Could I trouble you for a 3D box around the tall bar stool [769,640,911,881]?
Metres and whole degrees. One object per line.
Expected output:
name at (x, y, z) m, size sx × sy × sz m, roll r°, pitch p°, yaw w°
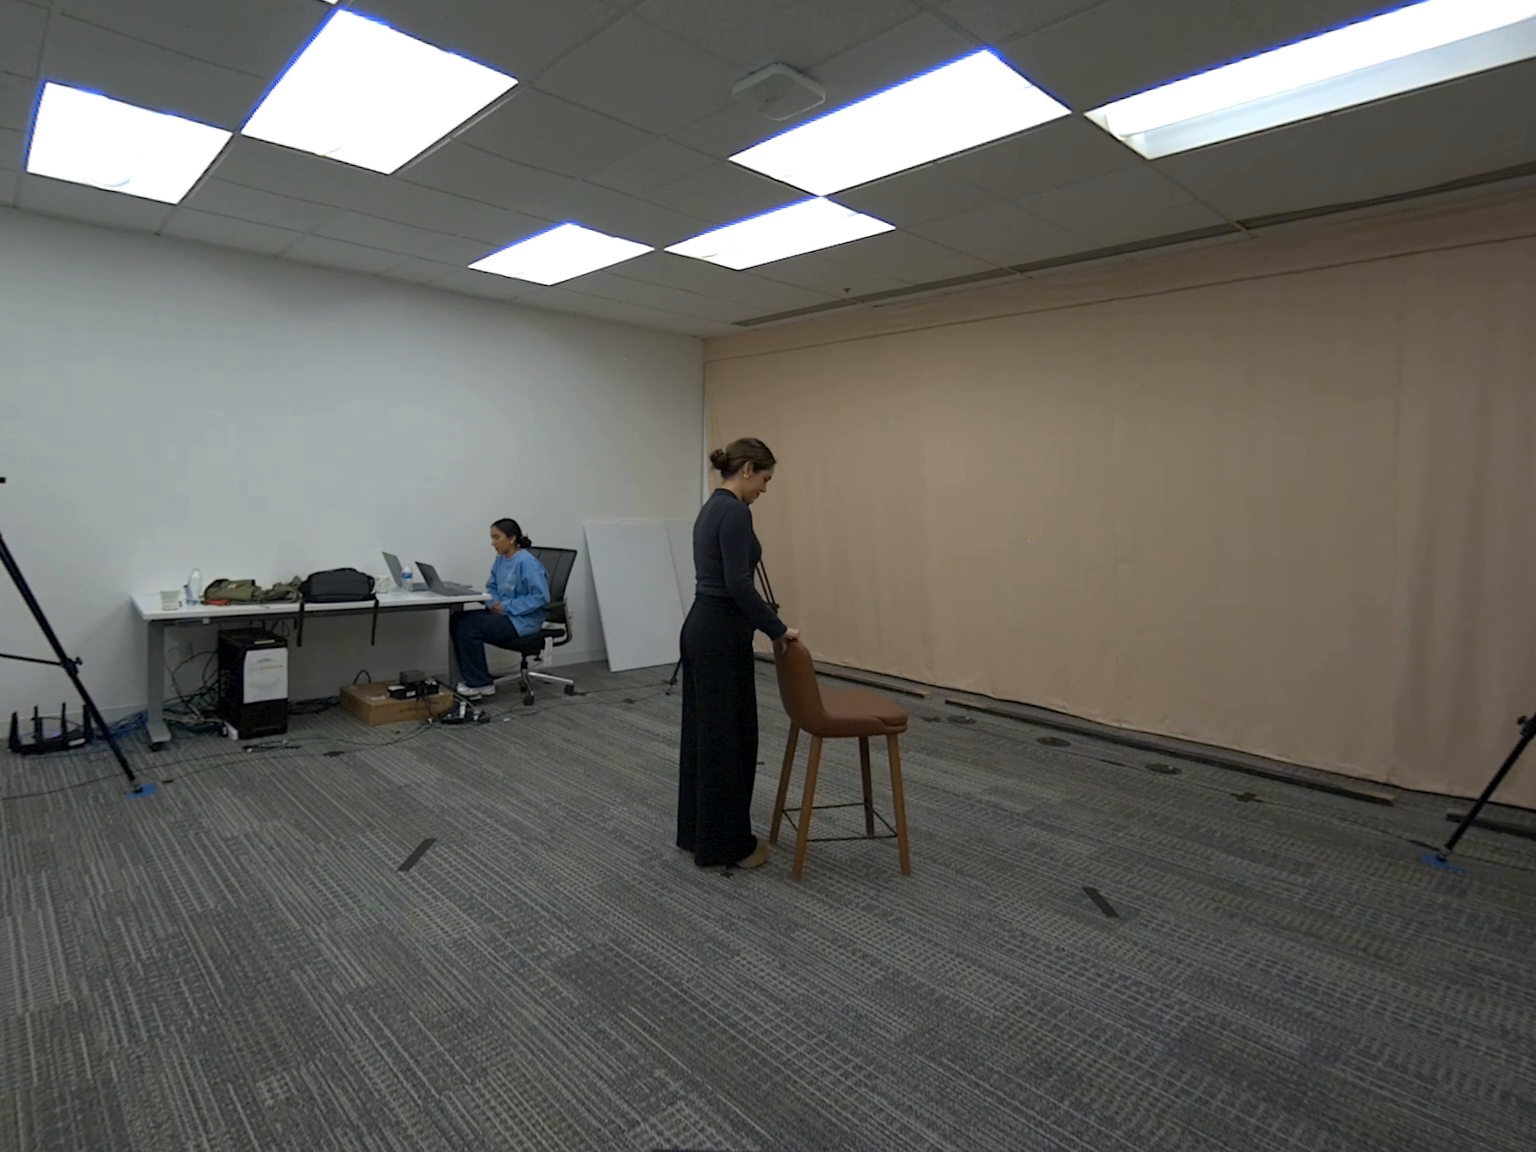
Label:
tall bar stool at (0.258, 0.657, 3.261) m, size 0.463 × 0.887 × 0.462 m, roll -2°, pitch 4°, yaw -14°
